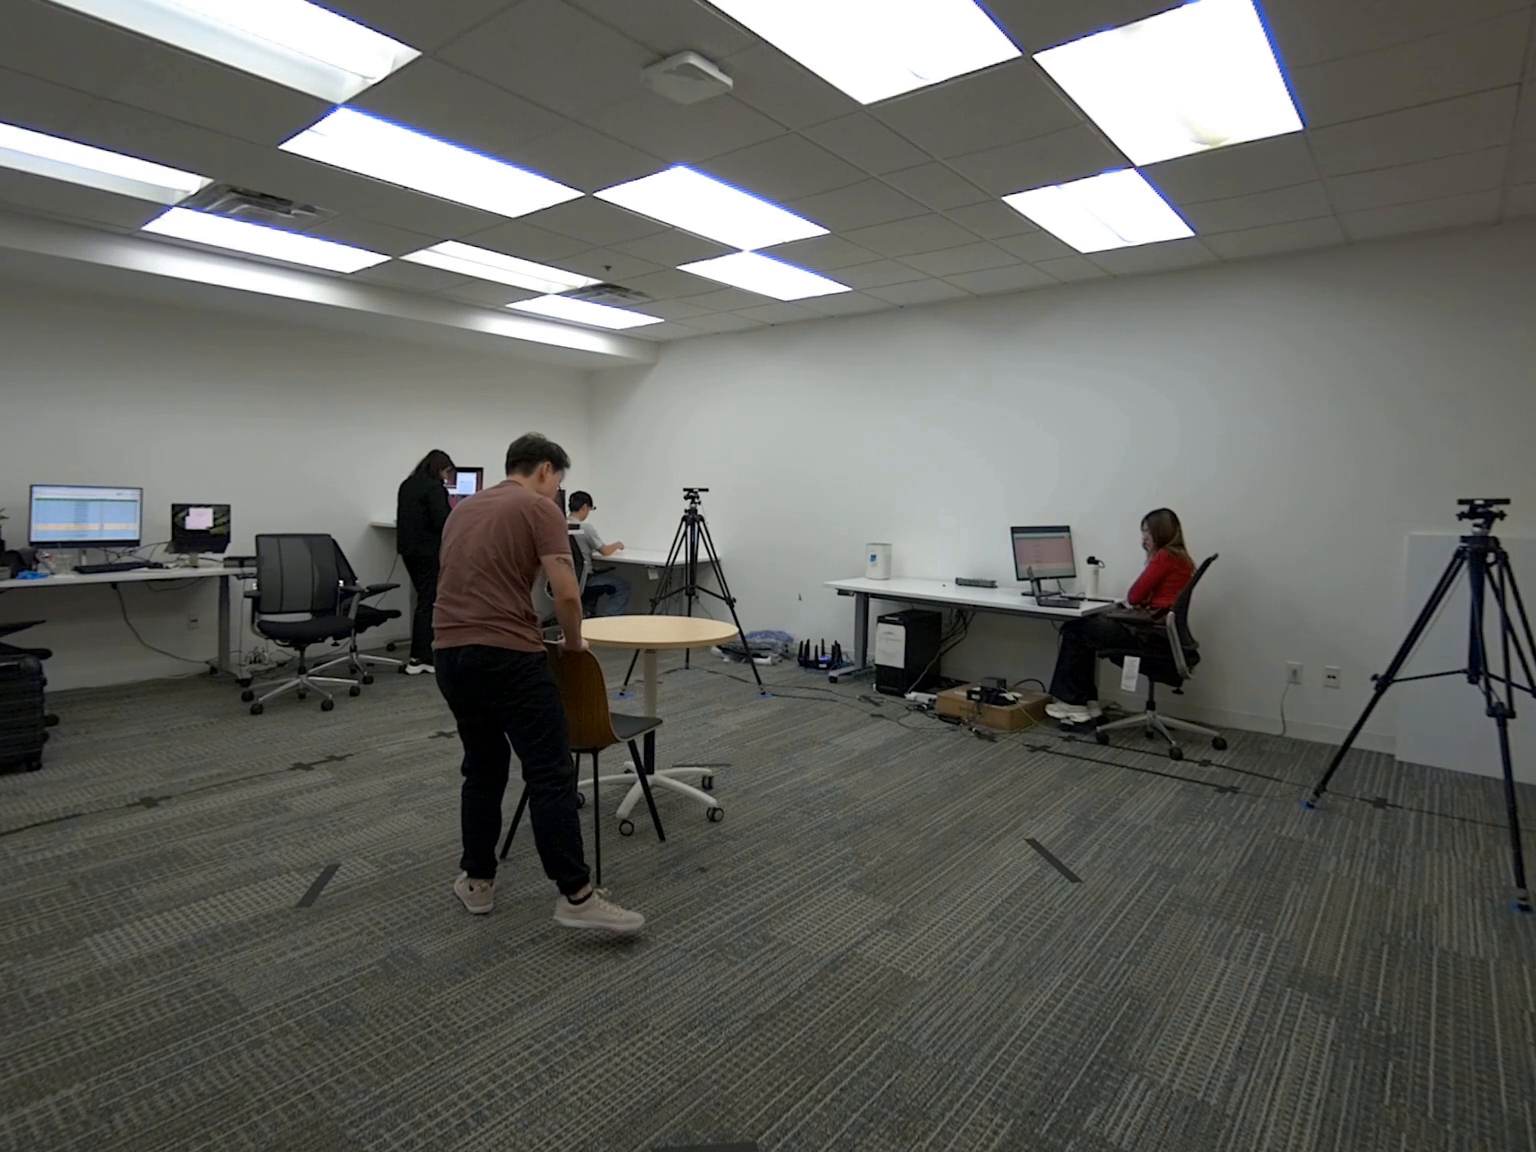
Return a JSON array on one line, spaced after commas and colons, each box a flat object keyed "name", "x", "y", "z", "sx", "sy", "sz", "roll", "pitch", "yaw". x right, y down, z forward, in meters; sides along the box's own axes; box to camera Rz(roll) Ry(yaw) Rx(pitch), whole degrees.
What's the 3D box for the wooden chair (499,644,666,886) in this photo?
[{"name": "wooden chair", "x": -0.697, "y": 0.621, "z": 3.245, "sx": 0.490, "sy": 0.872, "sz": 0.513, "roll": 2, "pitch": 7, "yaw": 25}]
